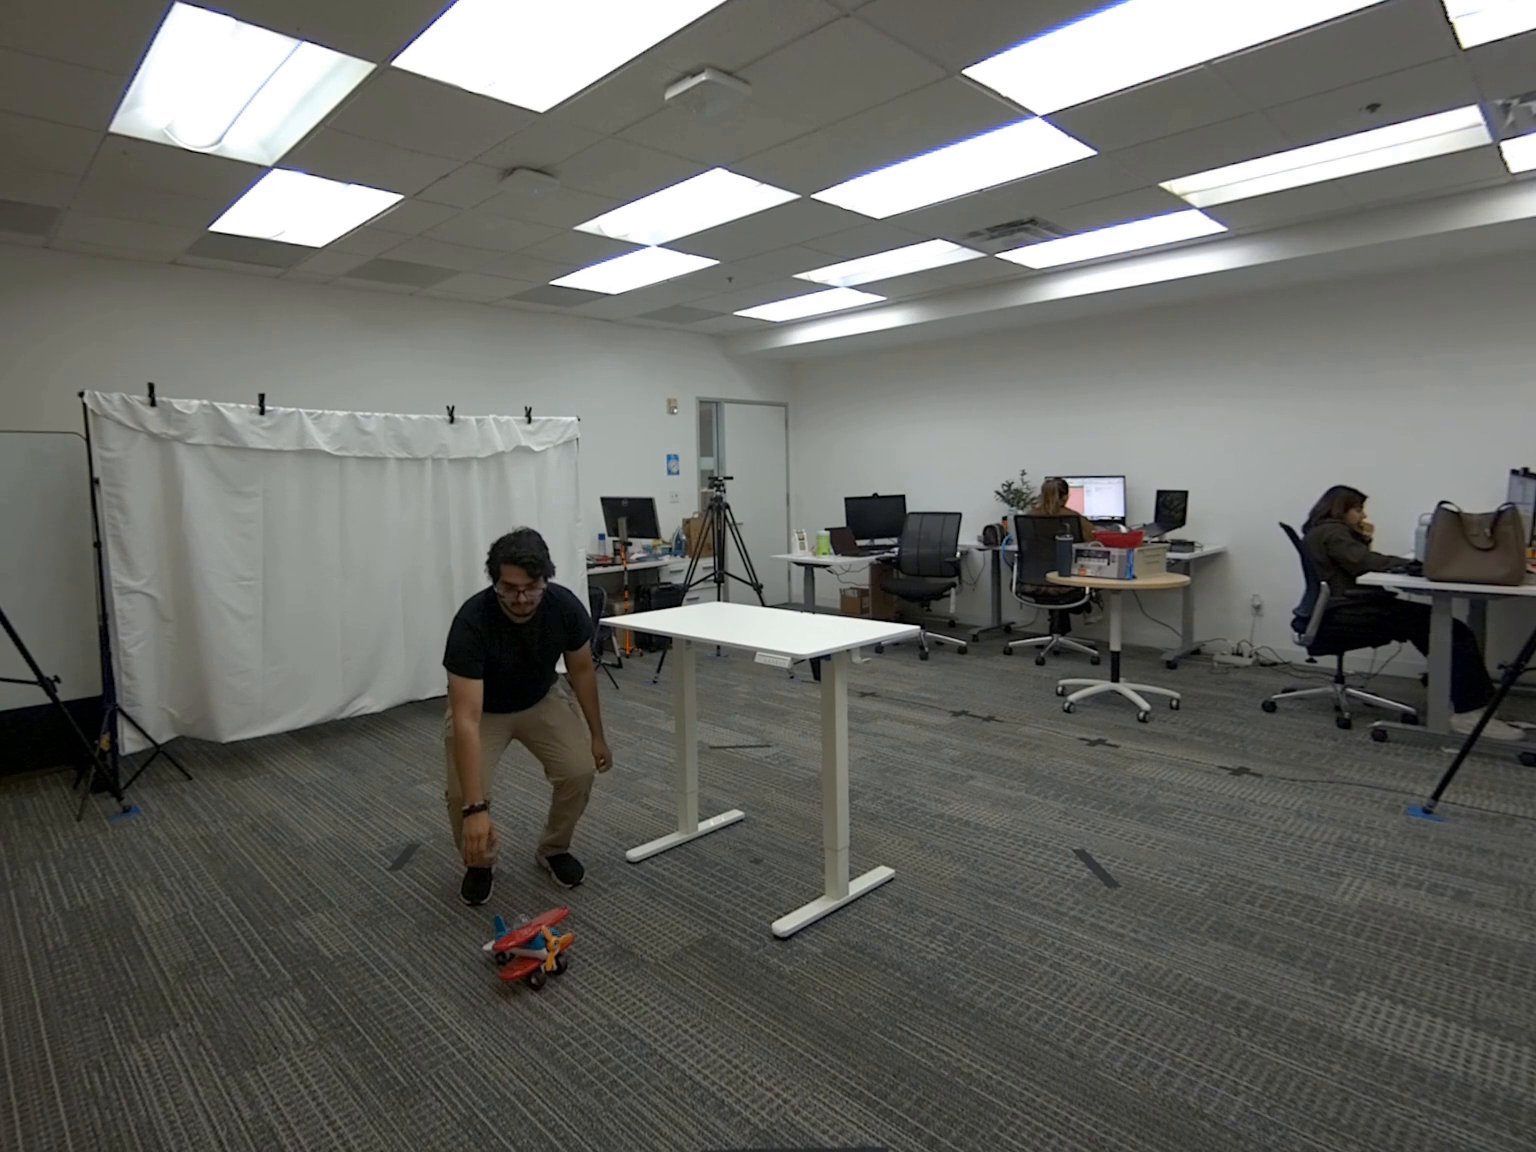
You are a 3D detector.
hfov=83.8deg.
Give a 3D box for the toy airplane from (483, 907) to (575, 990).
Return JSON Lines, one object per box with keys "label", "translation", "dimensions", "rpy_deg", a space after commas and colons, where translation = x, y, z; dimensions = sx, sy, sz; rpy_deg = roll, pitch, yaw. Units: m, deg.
{"label": "toy airplane", "translation": [-0.696, 1.060, 2.418], "dimensions": [0.261, 0.155, 0.251], "rpy_deg": [1, 7, 5]}
